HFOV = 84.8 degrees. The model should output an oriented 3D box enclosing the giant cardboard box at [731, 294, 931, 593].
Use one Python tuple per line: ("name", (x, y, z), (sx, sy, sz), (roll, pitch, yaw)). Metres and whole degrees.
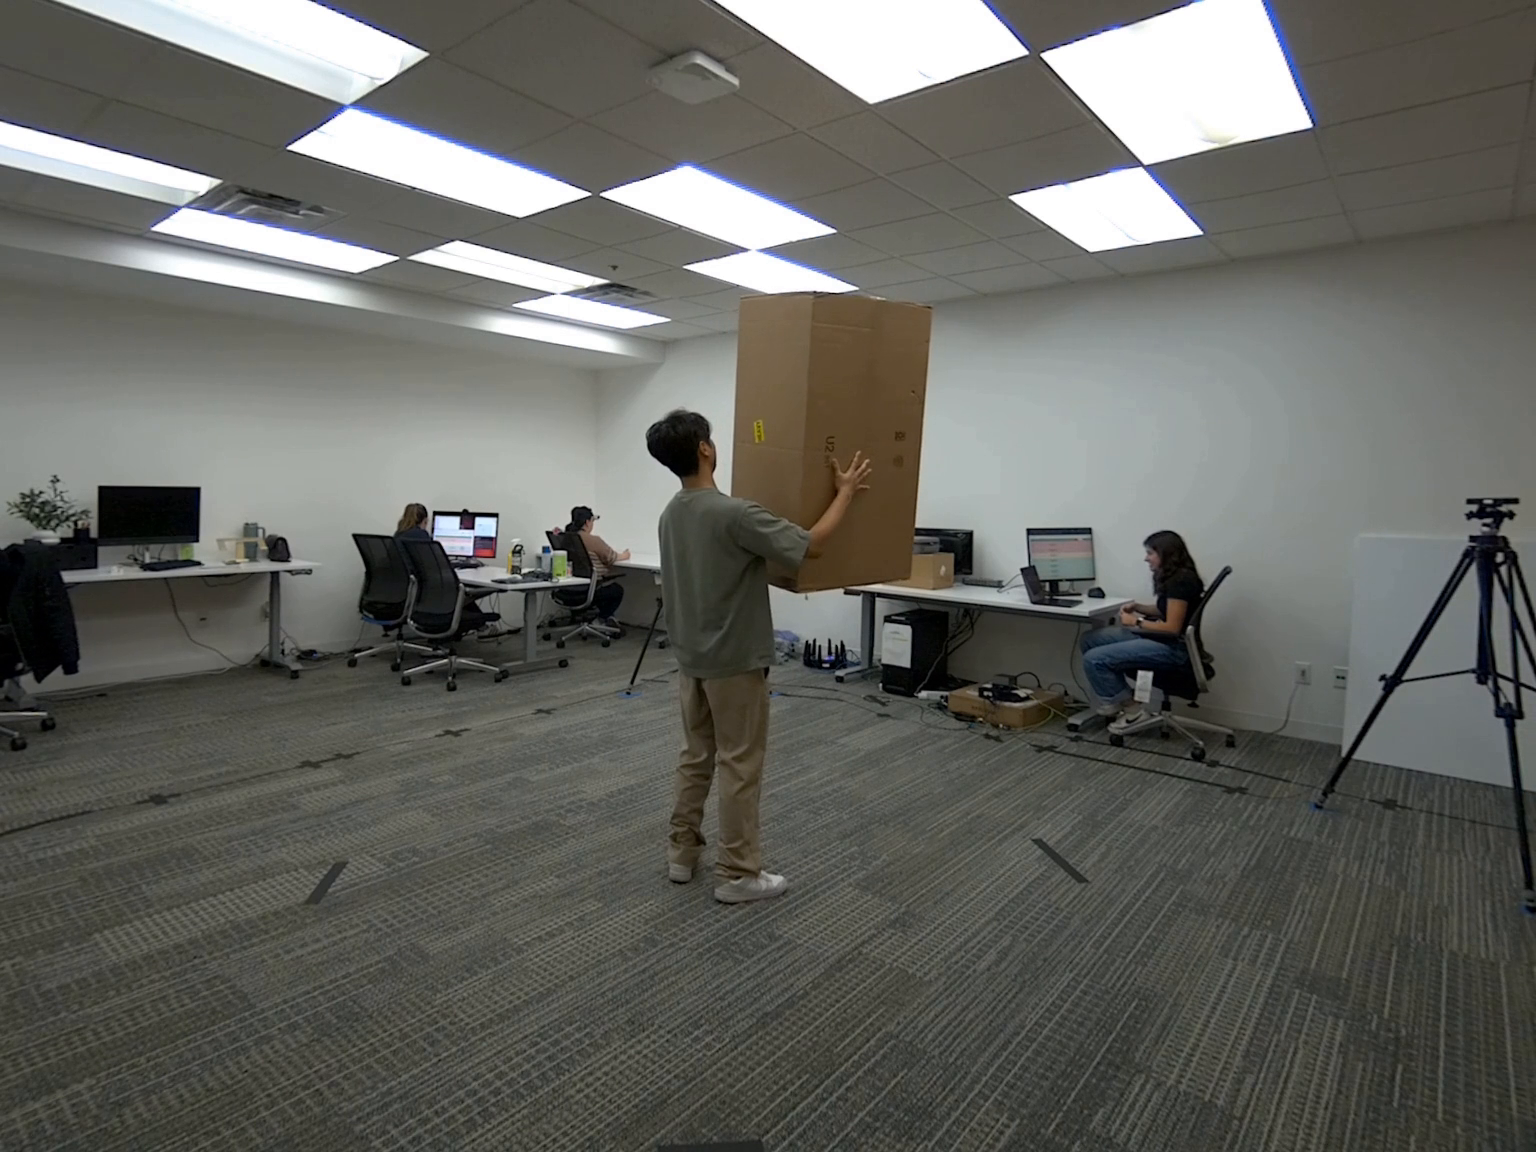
("giant cardboard box", (0.208, -0.504, 3.179), (0.562, 1.016, 0.442), (-5, 13, -36))
